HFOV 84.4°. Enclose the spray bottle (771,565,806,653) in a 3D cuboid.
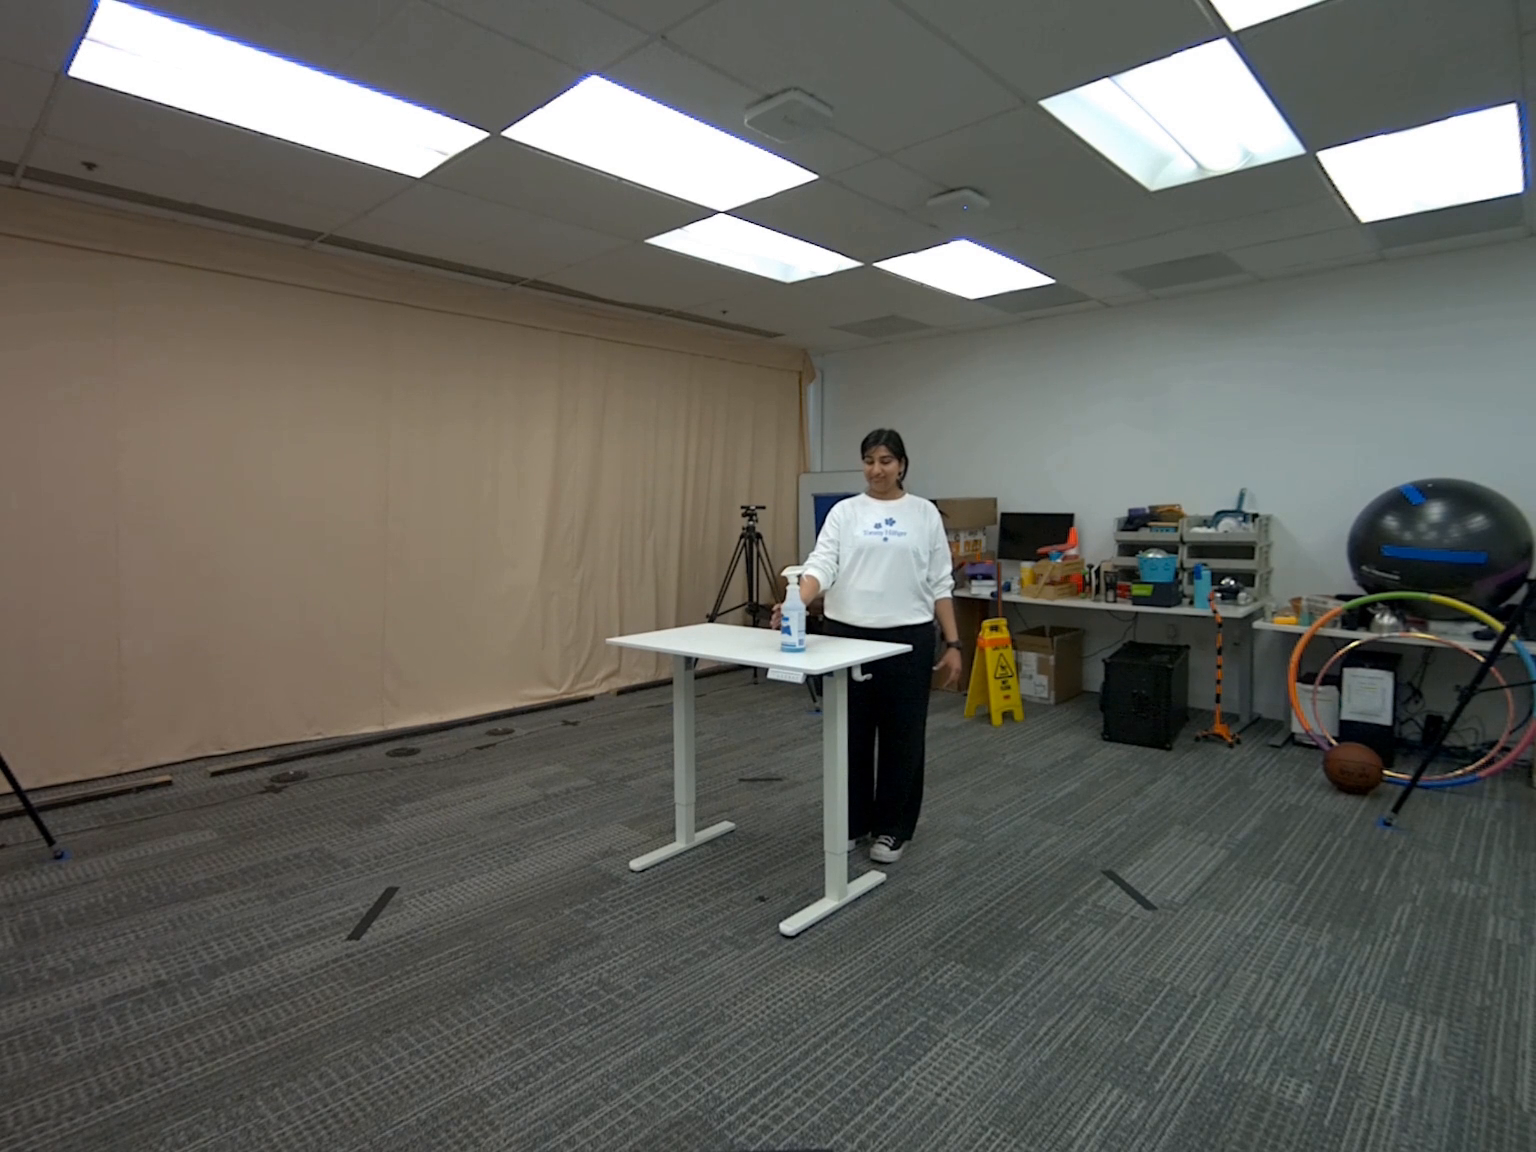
[{"bbox_3d":[0.099,0.118,2.939,0.092,0.297,0.085,1,2,24],"label":"spray bottle"}]
